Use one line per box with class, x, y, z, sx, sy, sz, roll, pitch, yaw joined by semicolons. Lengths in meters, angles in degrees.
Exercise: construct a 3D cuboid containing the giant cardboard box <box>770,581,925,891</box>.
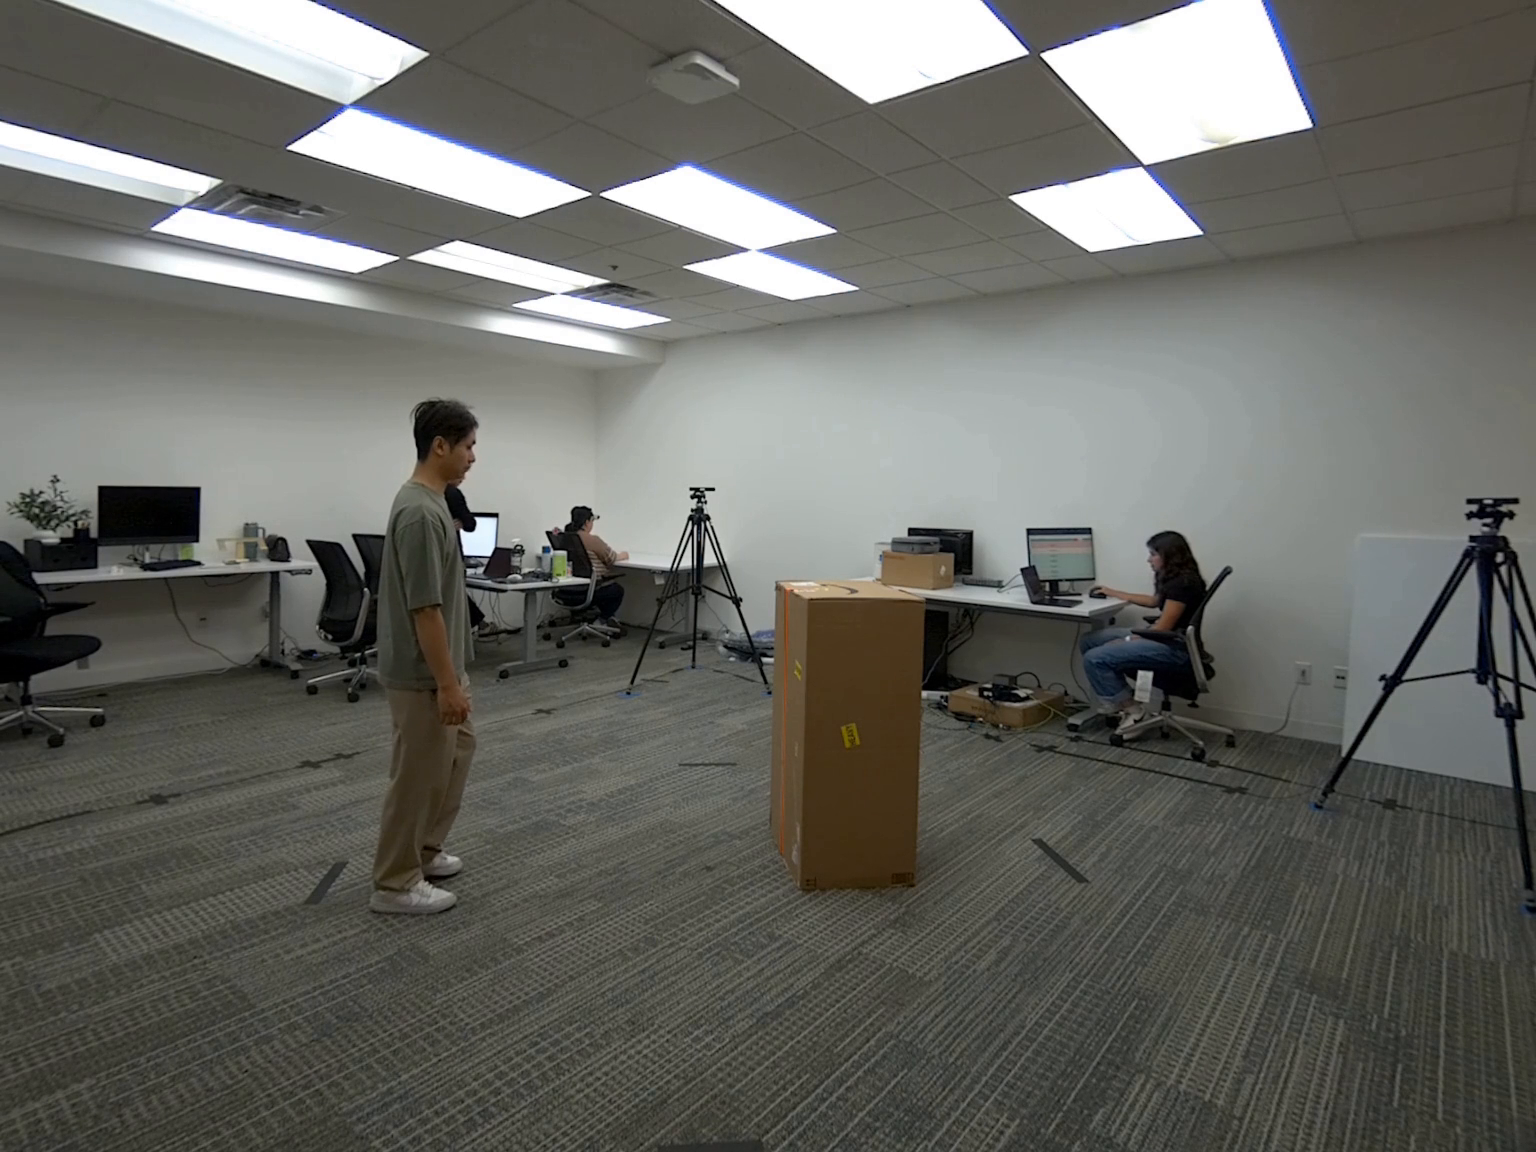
giant cardboard box;0.268;0.555;3.238;0.421;1.023;0.586;1;3;-11
